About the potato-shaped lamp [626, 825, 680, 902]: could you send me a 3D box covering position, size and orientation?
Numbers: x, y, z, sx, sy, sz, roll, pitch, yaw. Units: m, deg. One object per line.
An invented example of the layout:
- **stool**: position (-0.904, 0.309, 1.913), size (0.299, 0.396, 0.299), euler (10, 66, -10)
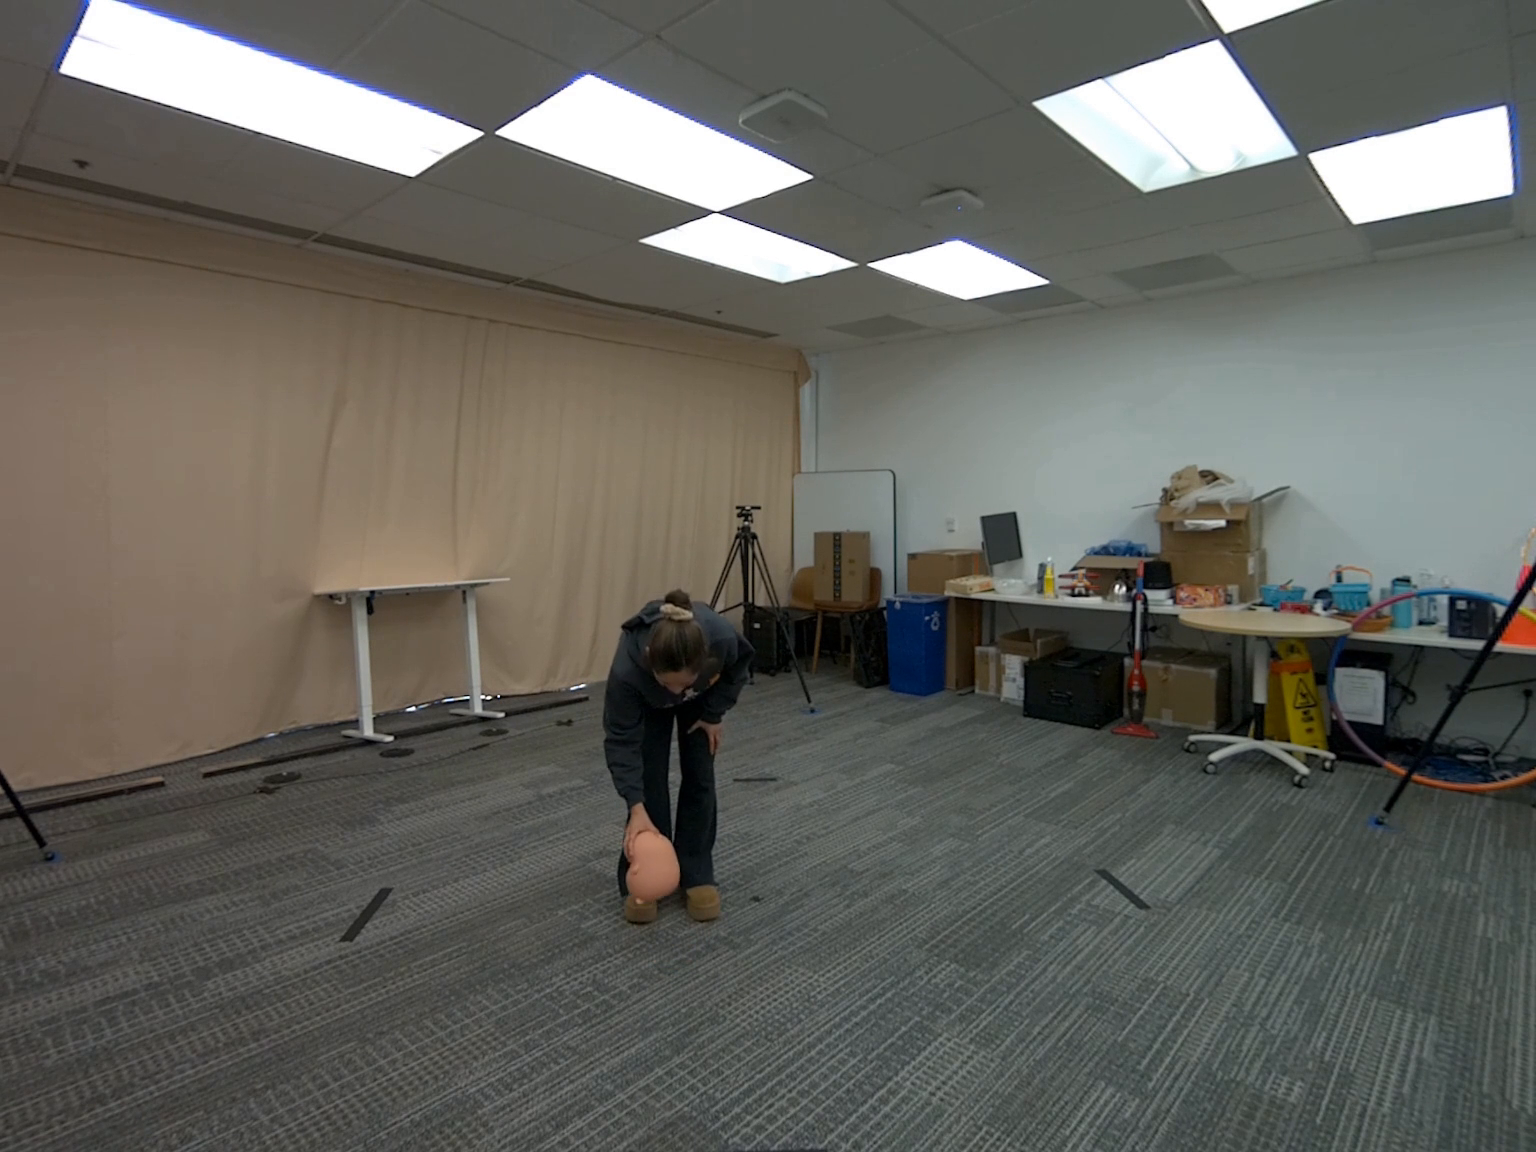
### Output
- **potato-shaped lamp**: position (-0.358, 0.884, 2.611), size (0.169, 0.199, 0.167), euler (-2, -5, -16)
